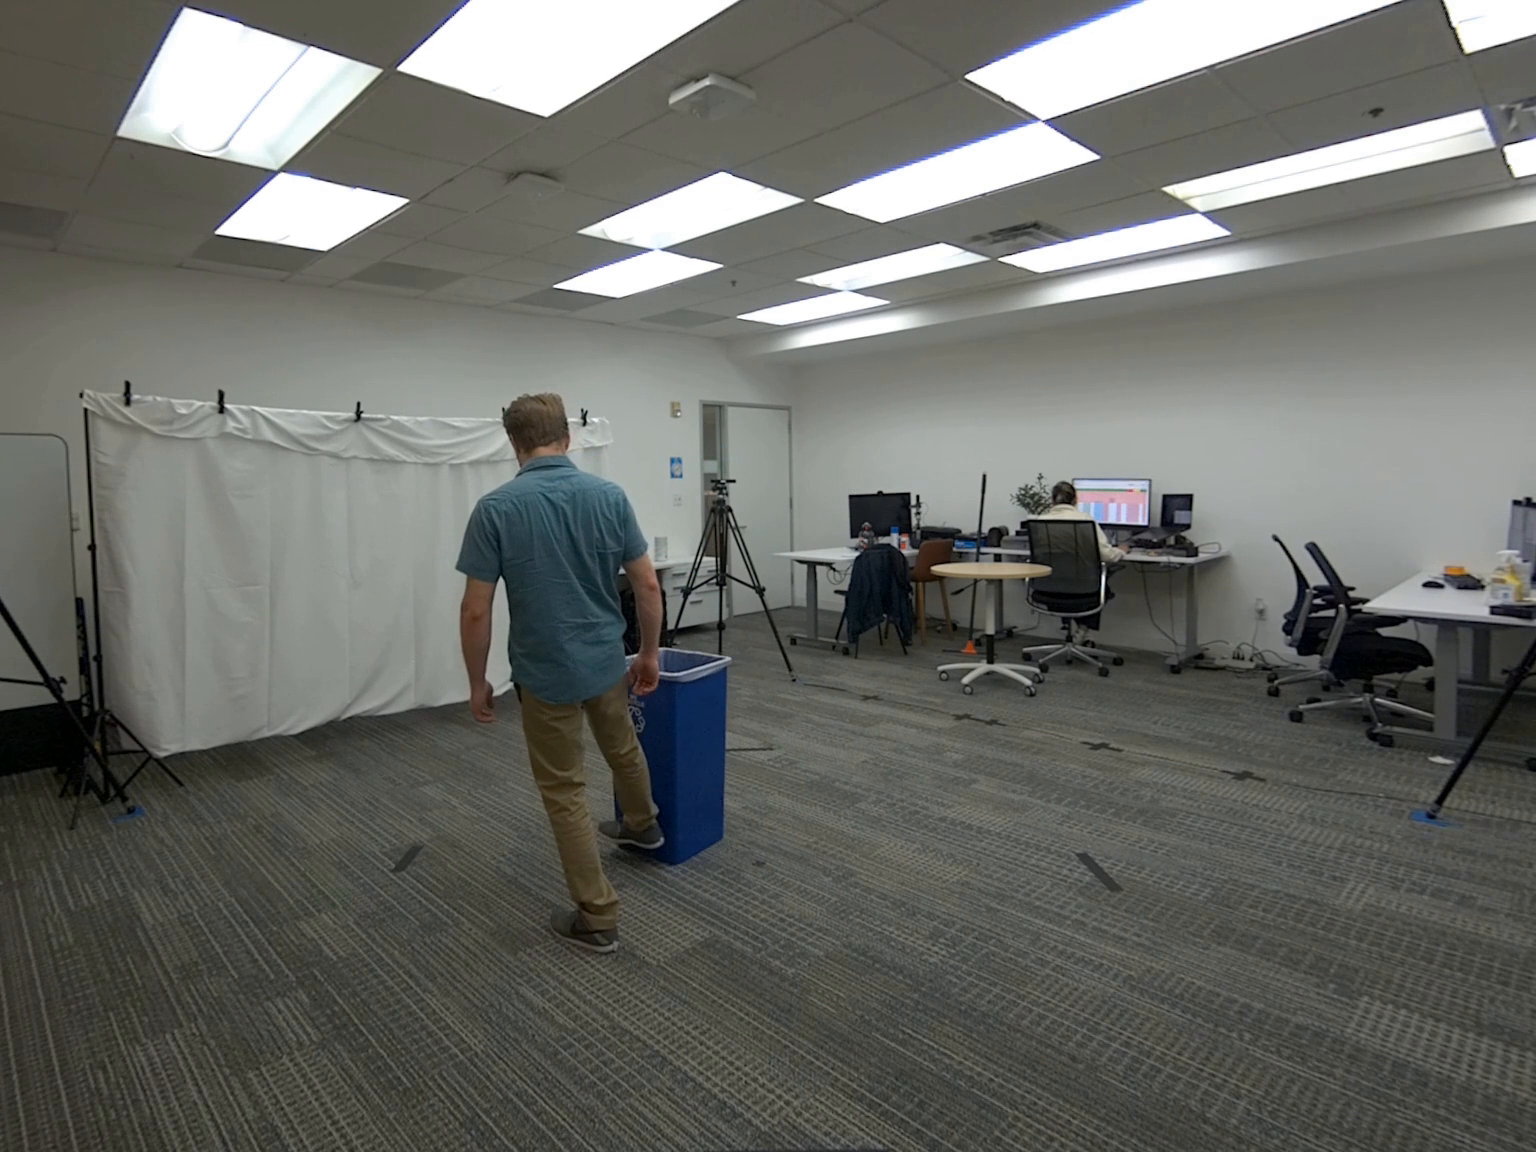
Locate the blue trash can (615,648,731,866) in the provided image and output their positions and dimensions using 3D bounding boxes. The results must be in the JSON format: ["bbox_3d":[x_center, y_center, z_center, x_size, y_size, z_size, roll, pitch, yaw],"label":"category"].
[{"bbox_3d":[-0.370,0.674,3.282,0.384,0.711,0.369,2,5,33],"label":"blue trash can"}]
